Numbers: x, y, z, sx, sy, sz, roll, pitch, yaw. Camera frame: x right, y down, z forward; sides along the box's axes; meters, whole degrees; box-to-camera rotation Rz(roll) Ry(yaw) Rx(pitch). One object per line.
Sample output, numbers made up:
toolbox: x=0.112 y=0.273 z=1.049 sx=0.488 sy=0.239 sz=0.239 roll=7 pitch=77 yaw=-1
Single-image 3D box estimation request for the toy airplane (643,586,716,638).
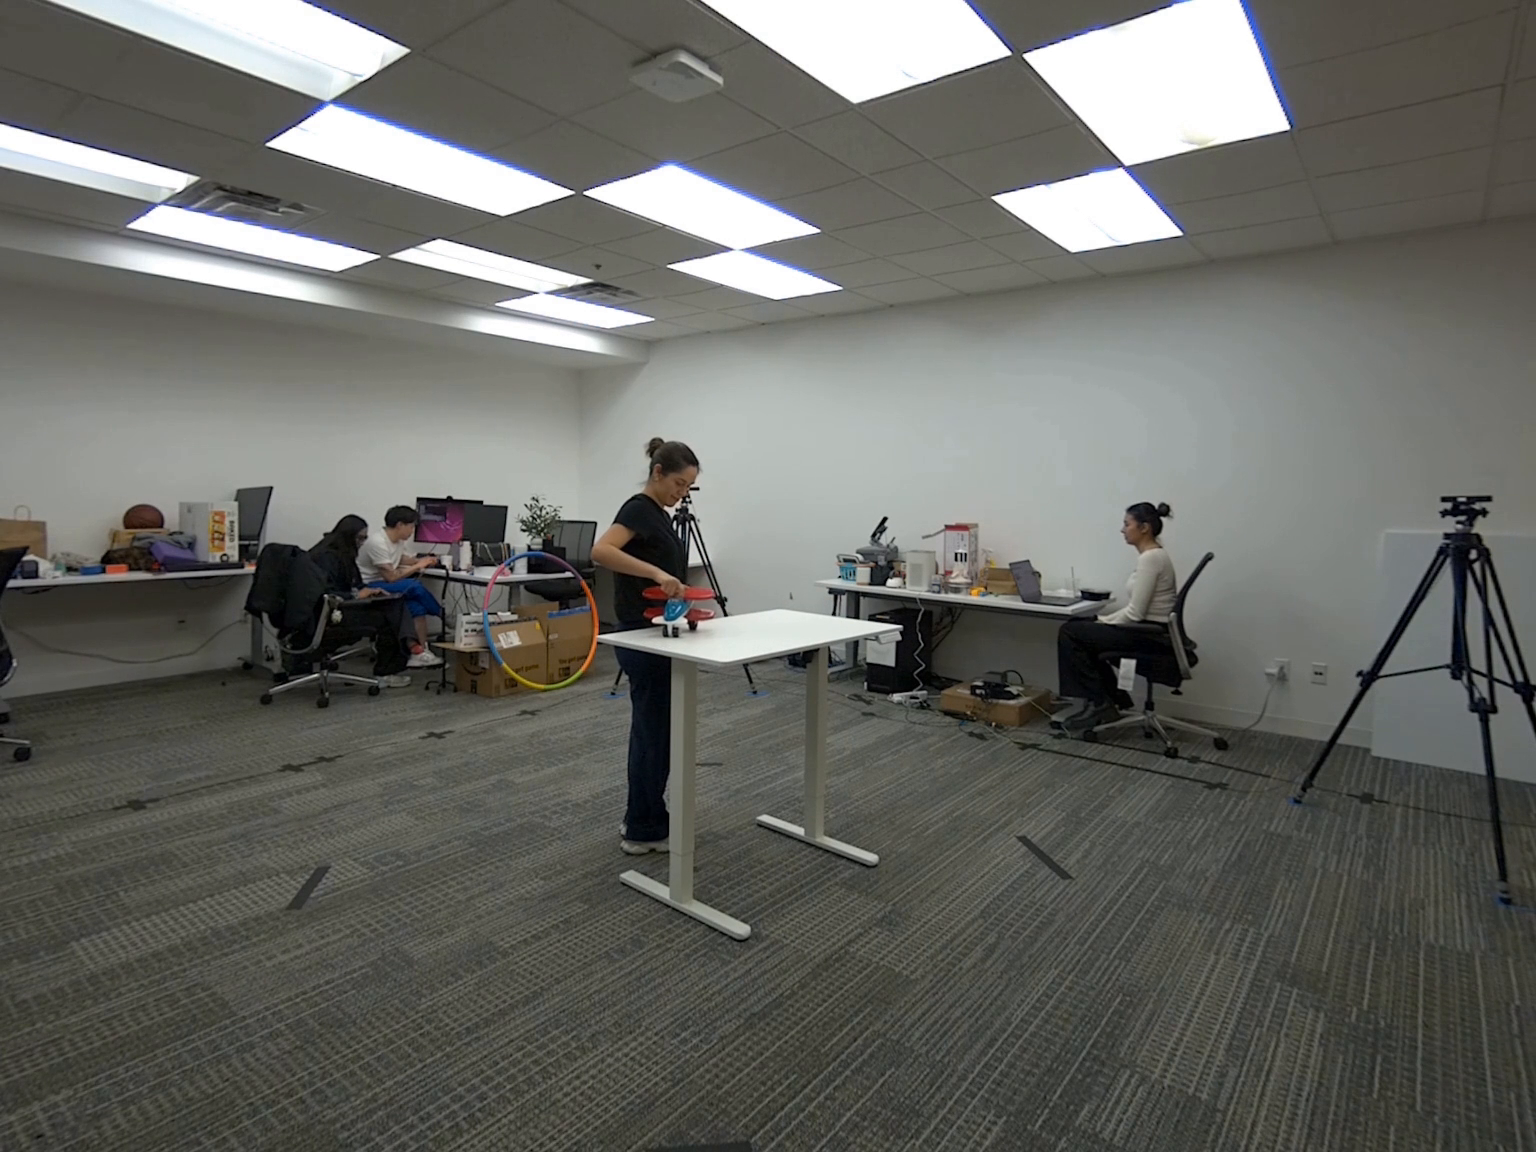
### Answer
toy airplane: x=-0.290 y=0.117 z=2.992 sx=0.246 sy=0.156 sz=0.265 roll=0 pitch=4 yaw=-21
